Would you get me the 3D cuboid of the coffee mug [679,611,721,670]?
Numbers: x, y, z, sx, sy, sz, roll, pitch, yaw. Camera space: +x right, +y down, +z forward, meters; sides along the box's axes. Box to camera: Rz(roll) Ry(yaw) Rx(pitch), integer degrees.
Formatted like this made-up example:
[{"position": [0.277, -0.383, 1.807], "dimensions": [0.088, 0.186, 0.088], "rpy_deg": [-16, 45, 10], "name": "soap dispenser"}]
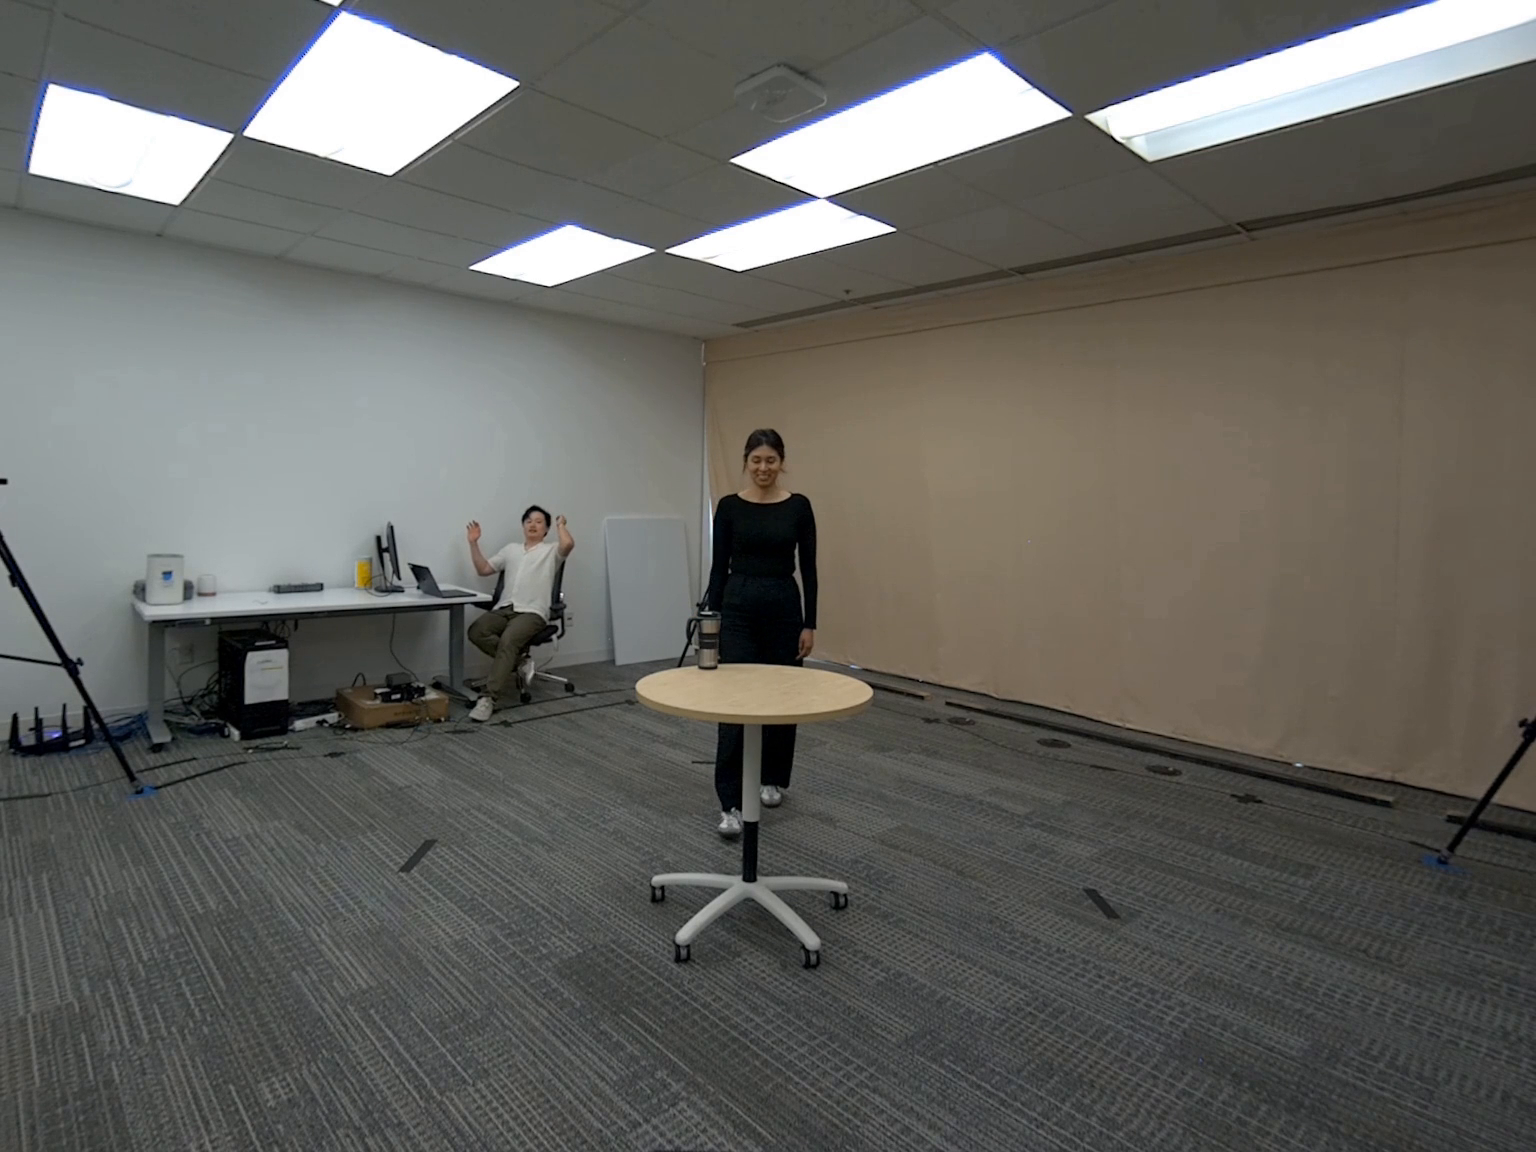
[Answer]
[{"position": [-0.240, 0.230, 3.035], "dimensions": [0.086, 0.202, 0.125], "rpy_deg": [-3, 11, -43], "name": "coffee mug"}]
